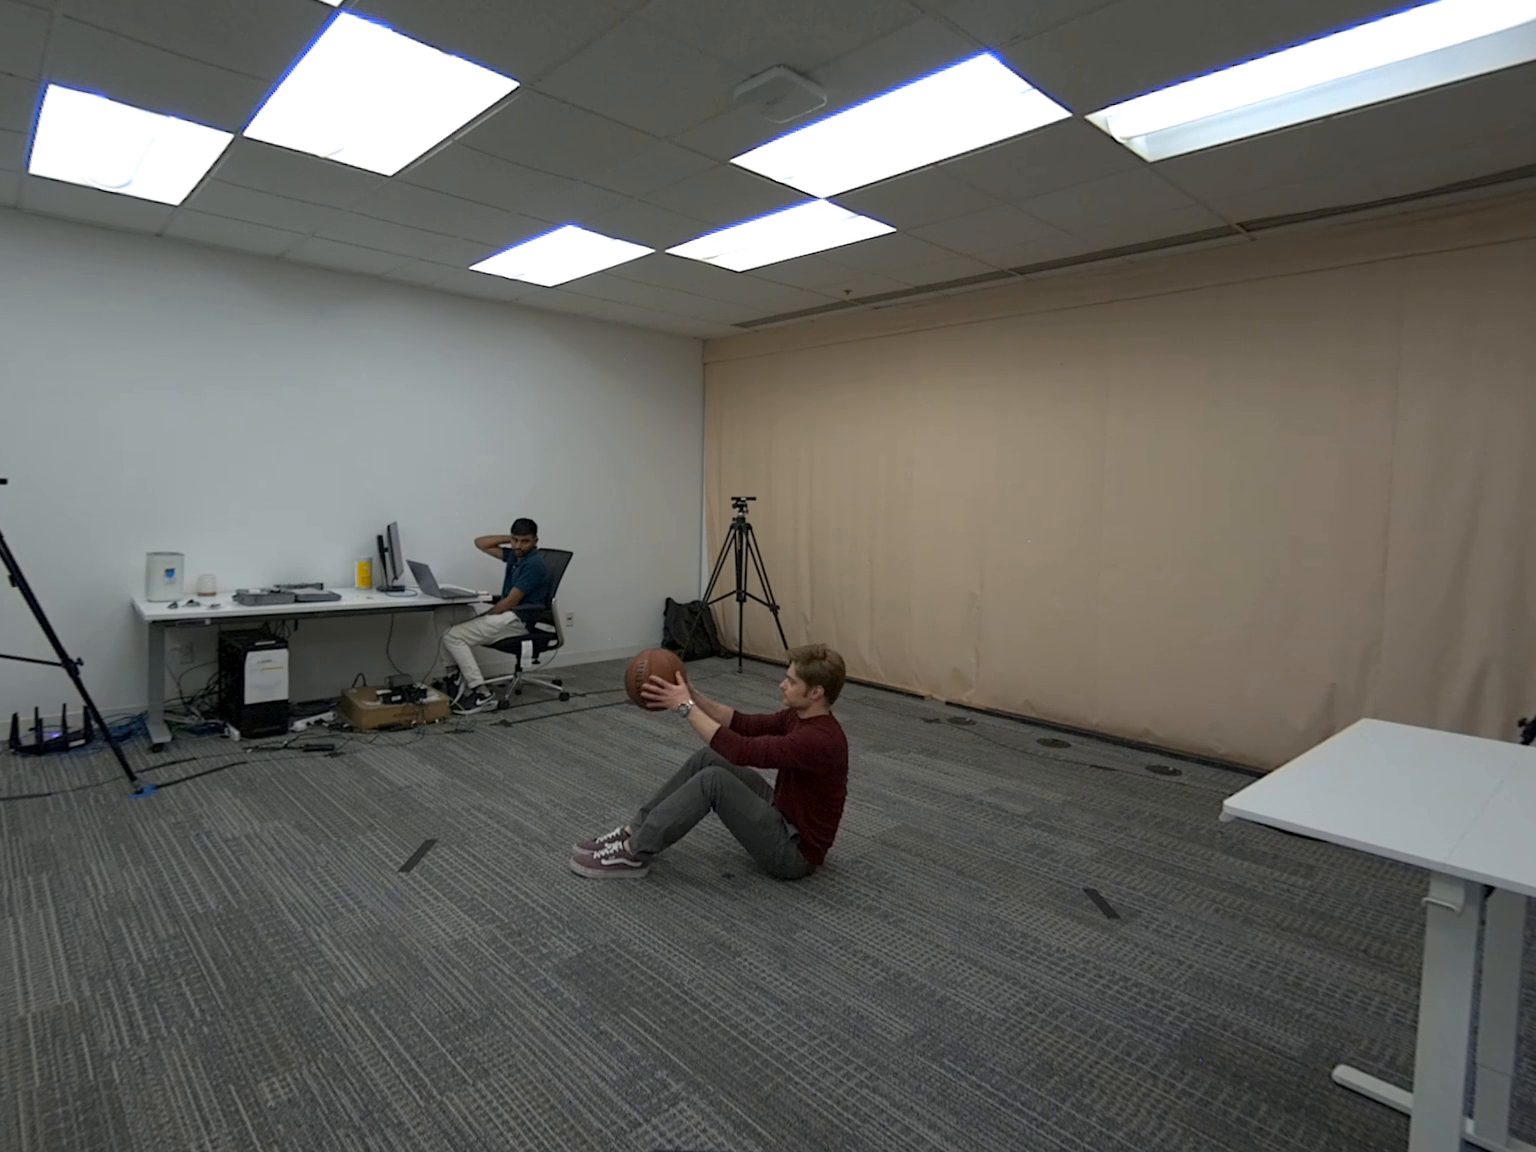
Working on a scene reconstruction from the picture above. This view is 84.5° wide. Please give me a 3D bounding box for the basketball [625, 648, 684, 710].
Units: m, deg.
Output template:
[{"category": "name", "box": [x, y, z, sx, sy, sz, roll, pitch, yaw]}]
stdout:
[{"category": "basketball", "box": [-0.435, 0.407, 3.200, 0.236, 0.235, 0.237, 1, 4, -1]}]
